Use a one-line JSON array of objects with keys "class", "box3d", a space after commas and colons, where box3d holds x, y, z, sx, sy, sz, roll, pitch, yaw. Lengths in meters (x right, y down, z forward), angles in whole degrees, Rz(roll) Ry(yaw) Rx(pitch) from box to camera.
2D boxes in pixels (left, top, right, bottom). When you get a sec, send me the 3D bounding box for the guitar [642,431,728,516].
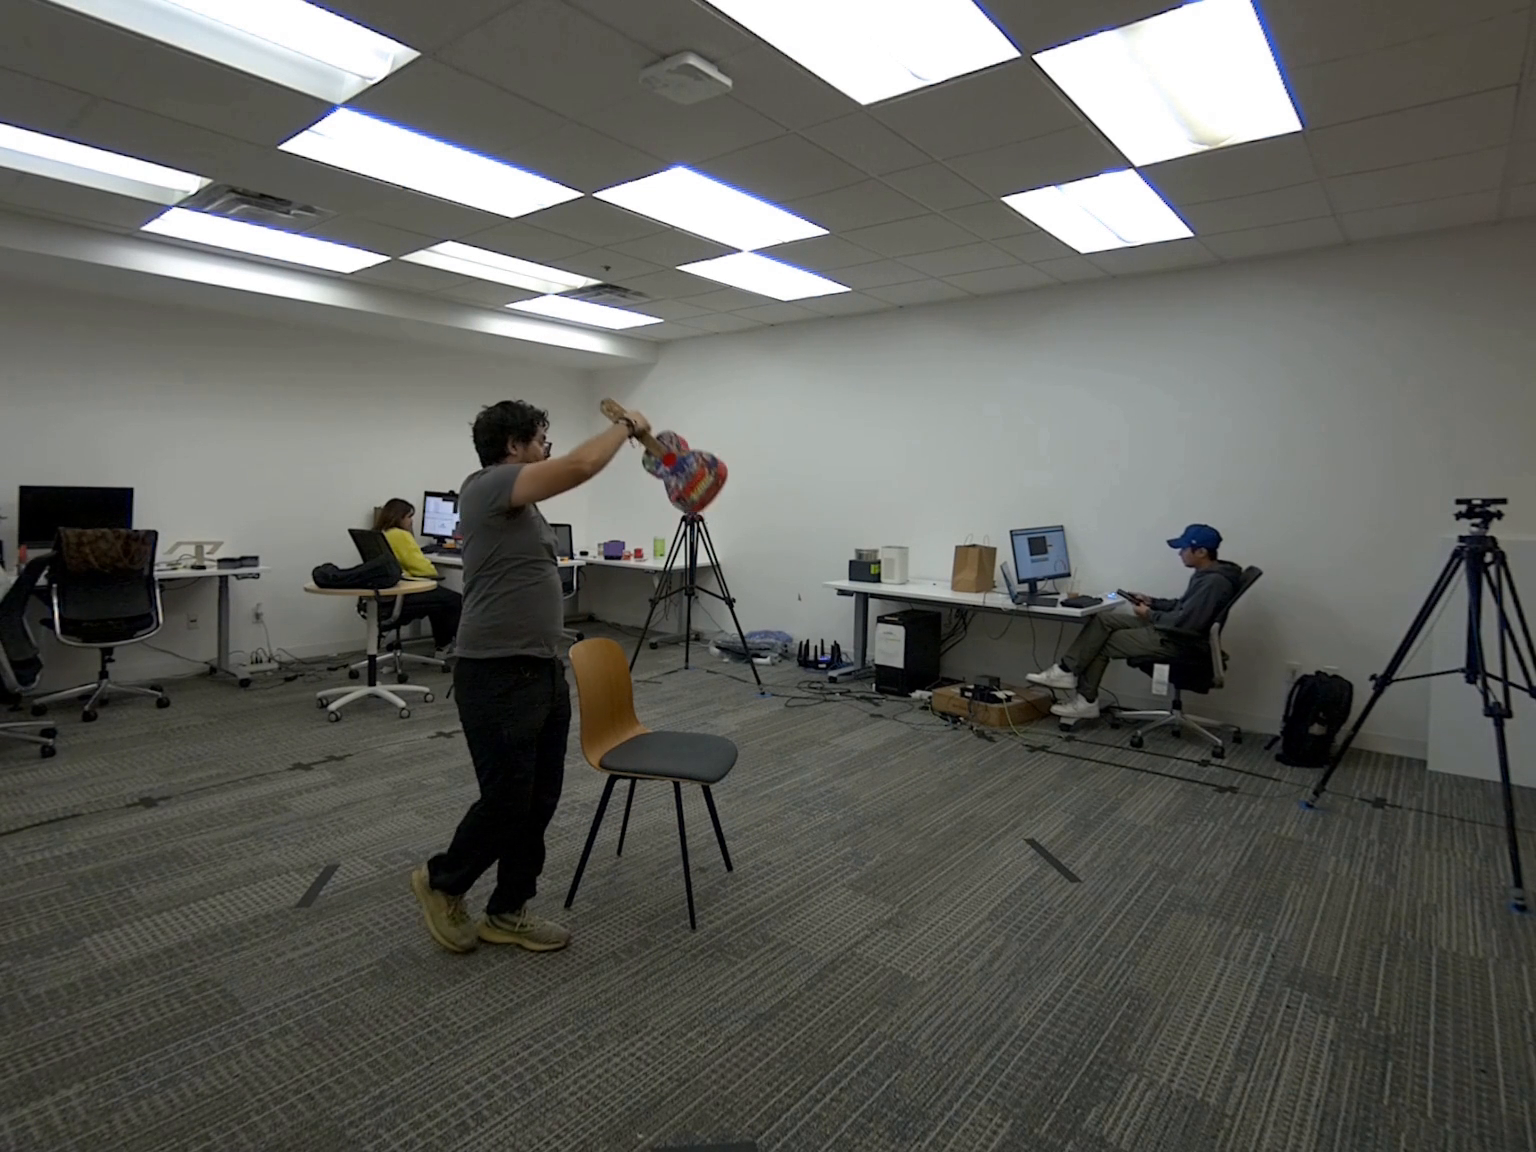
[{"class": "guitar", "box3d": [-0.348, -0.404, 2.621, 0.193, 0.513, 0.068, -42, -23, 8]}]
